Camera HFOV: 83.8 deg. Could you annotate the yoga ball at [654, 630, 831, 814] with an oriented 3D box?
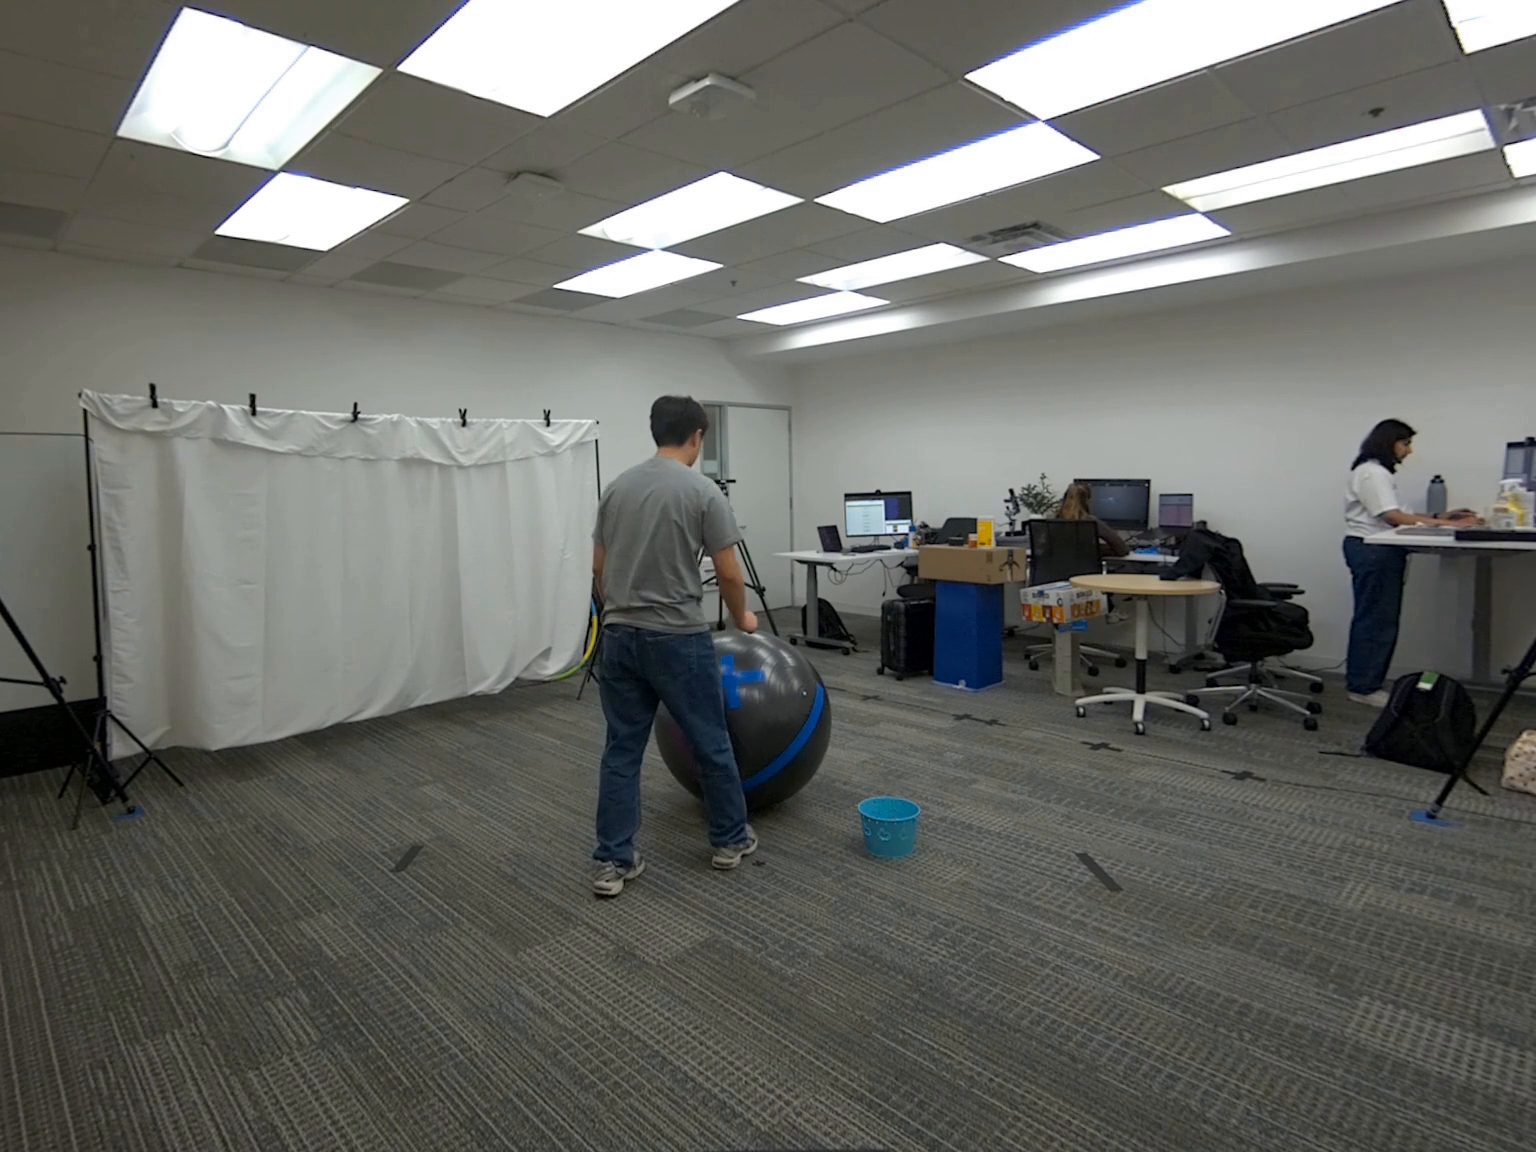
[{"bbox_3d":[-0.109,0.614,3.672,0.757,0.755,0.762,-1,5,-2],"label":"yoga ball"}]
